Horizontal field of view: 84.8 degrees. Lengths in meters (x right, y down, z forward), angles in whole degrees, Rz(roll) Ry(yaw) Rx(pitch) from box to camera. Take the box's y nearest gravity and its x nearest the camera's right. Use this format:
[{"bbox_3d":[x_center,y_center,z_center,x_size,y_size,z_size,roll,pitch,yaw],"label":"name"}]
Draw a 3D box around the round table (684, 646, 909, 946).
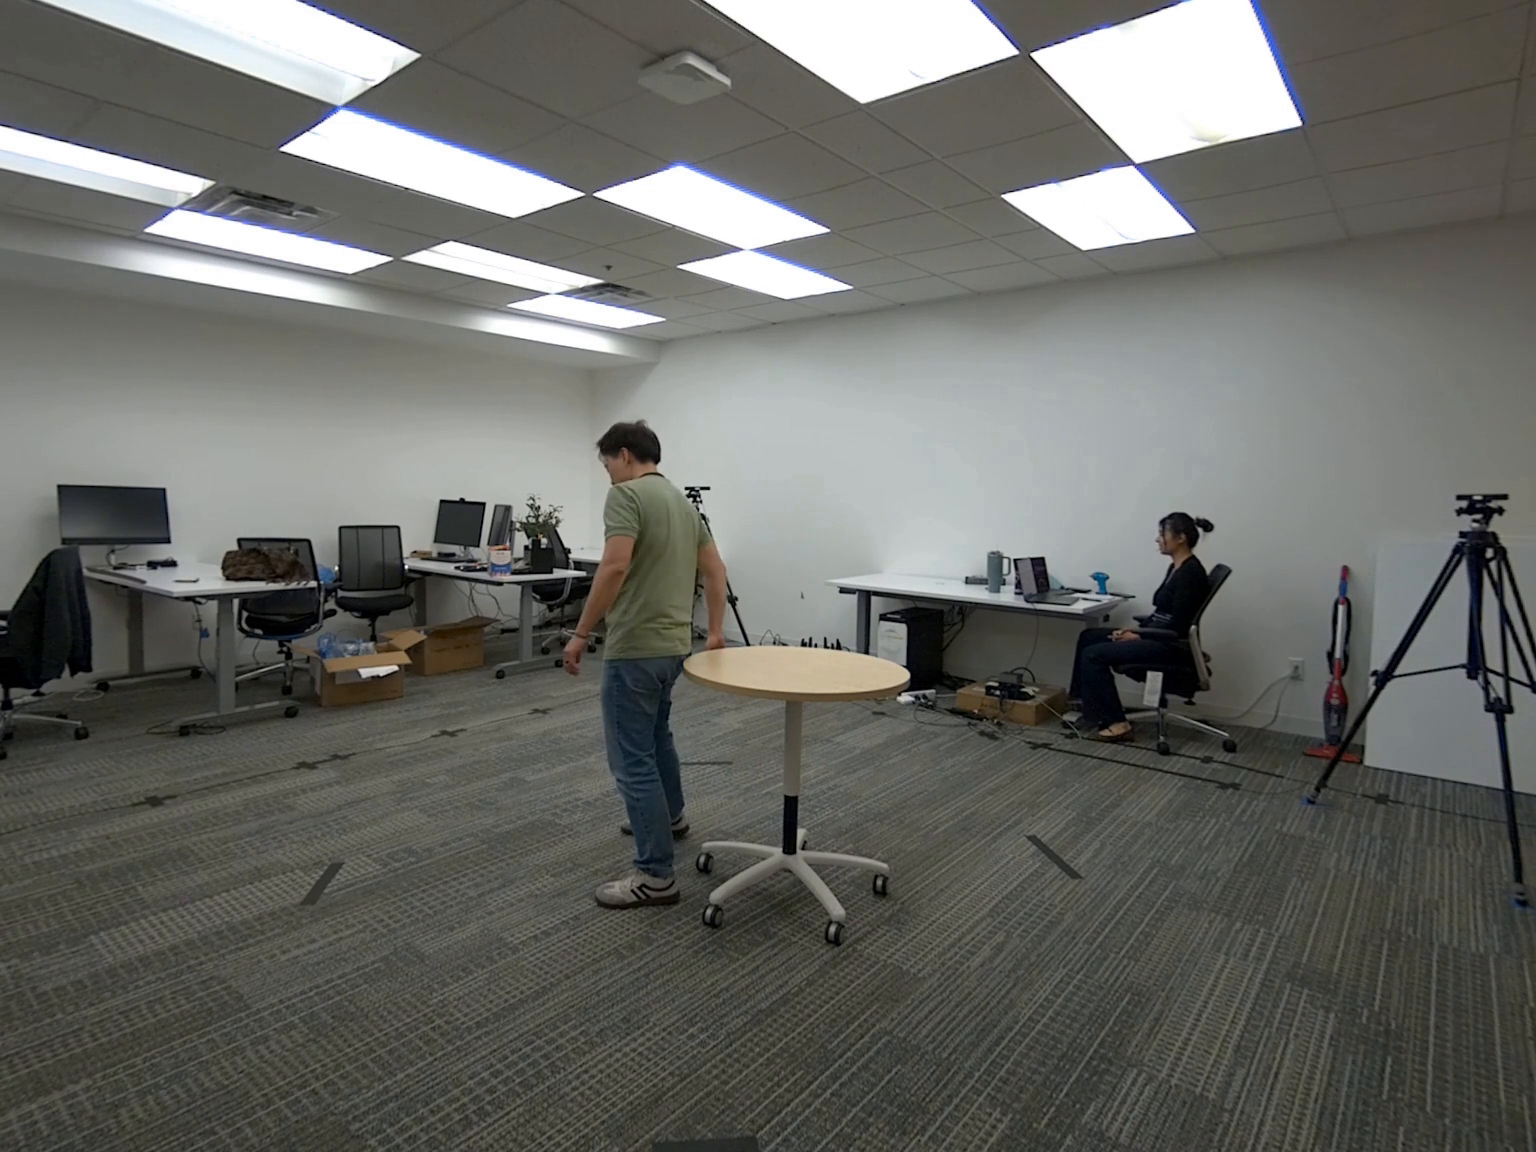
[{"bbox_3d":[0.071,0.700,2.912,0.763,0.791,0.768,2,4,-2],"label":"round table"}]
